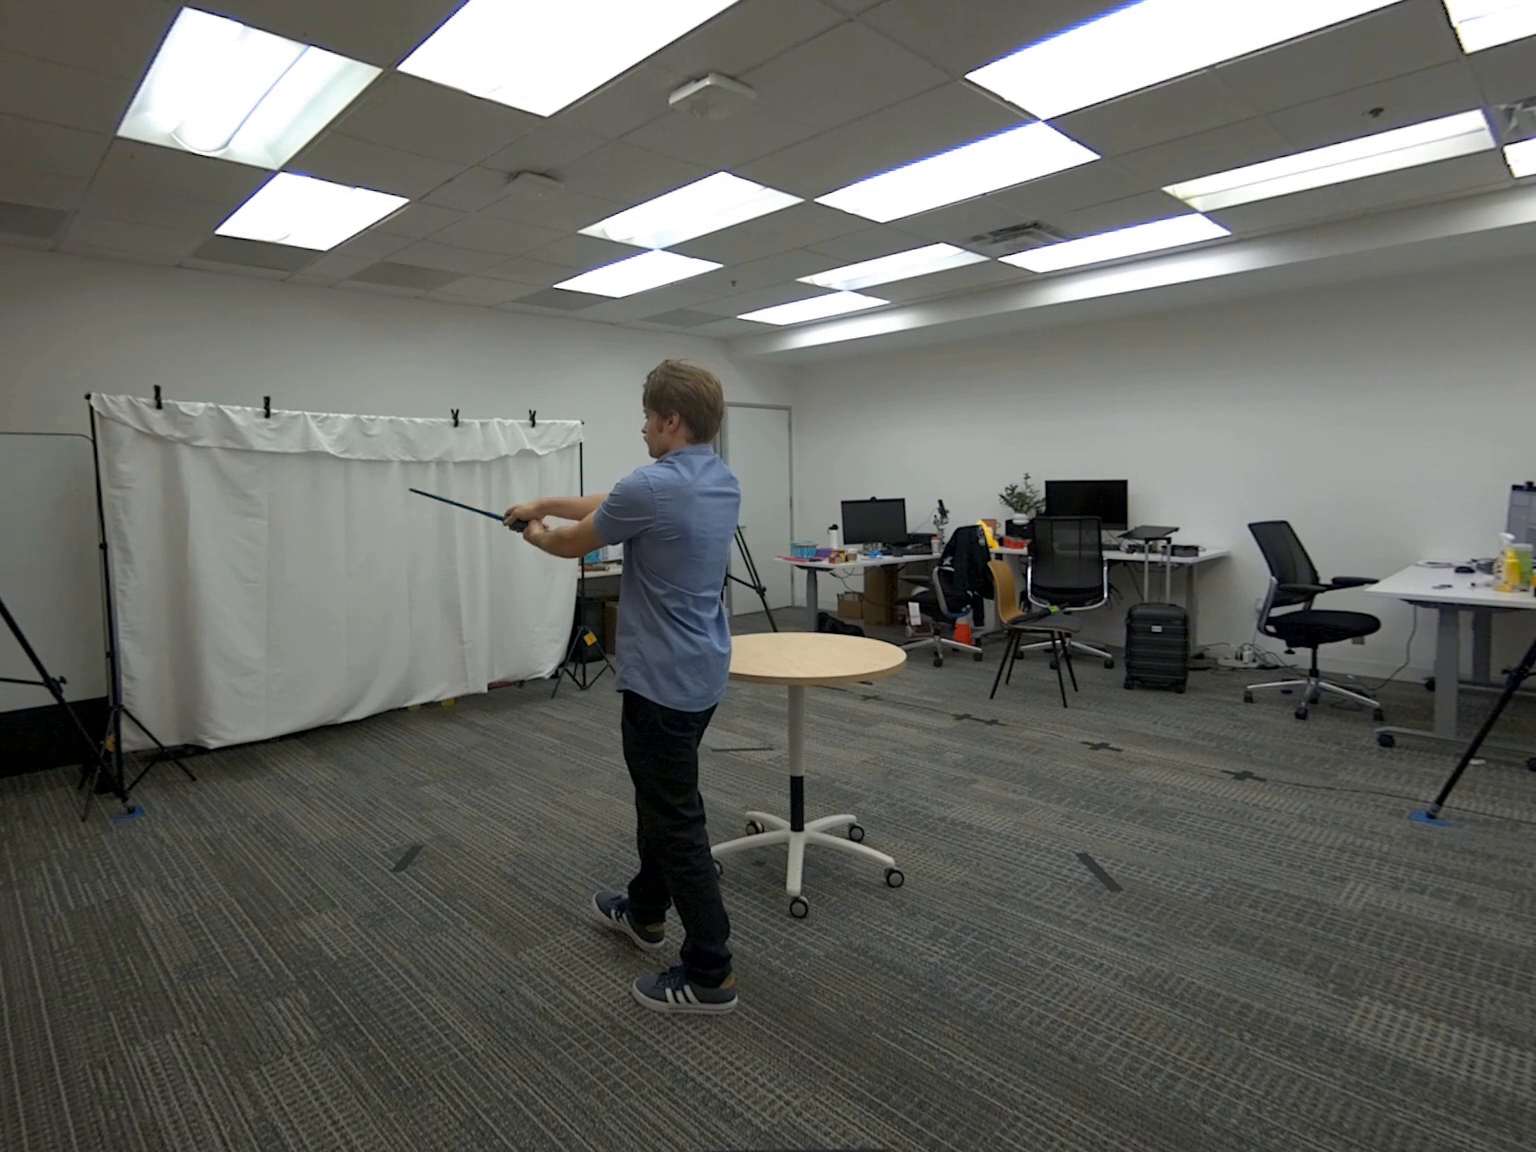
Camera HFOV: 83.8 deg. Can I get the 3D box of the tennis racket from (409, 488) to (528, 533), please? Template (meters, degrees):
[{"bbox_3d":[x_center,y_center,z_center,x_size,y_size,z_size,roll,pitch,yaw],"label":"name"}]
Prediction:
[{"bbox_3d":[-0.888,-0.200,2.622,0.436,0.032,0.212,18,-2,5],"label":"tennis racket"}]
